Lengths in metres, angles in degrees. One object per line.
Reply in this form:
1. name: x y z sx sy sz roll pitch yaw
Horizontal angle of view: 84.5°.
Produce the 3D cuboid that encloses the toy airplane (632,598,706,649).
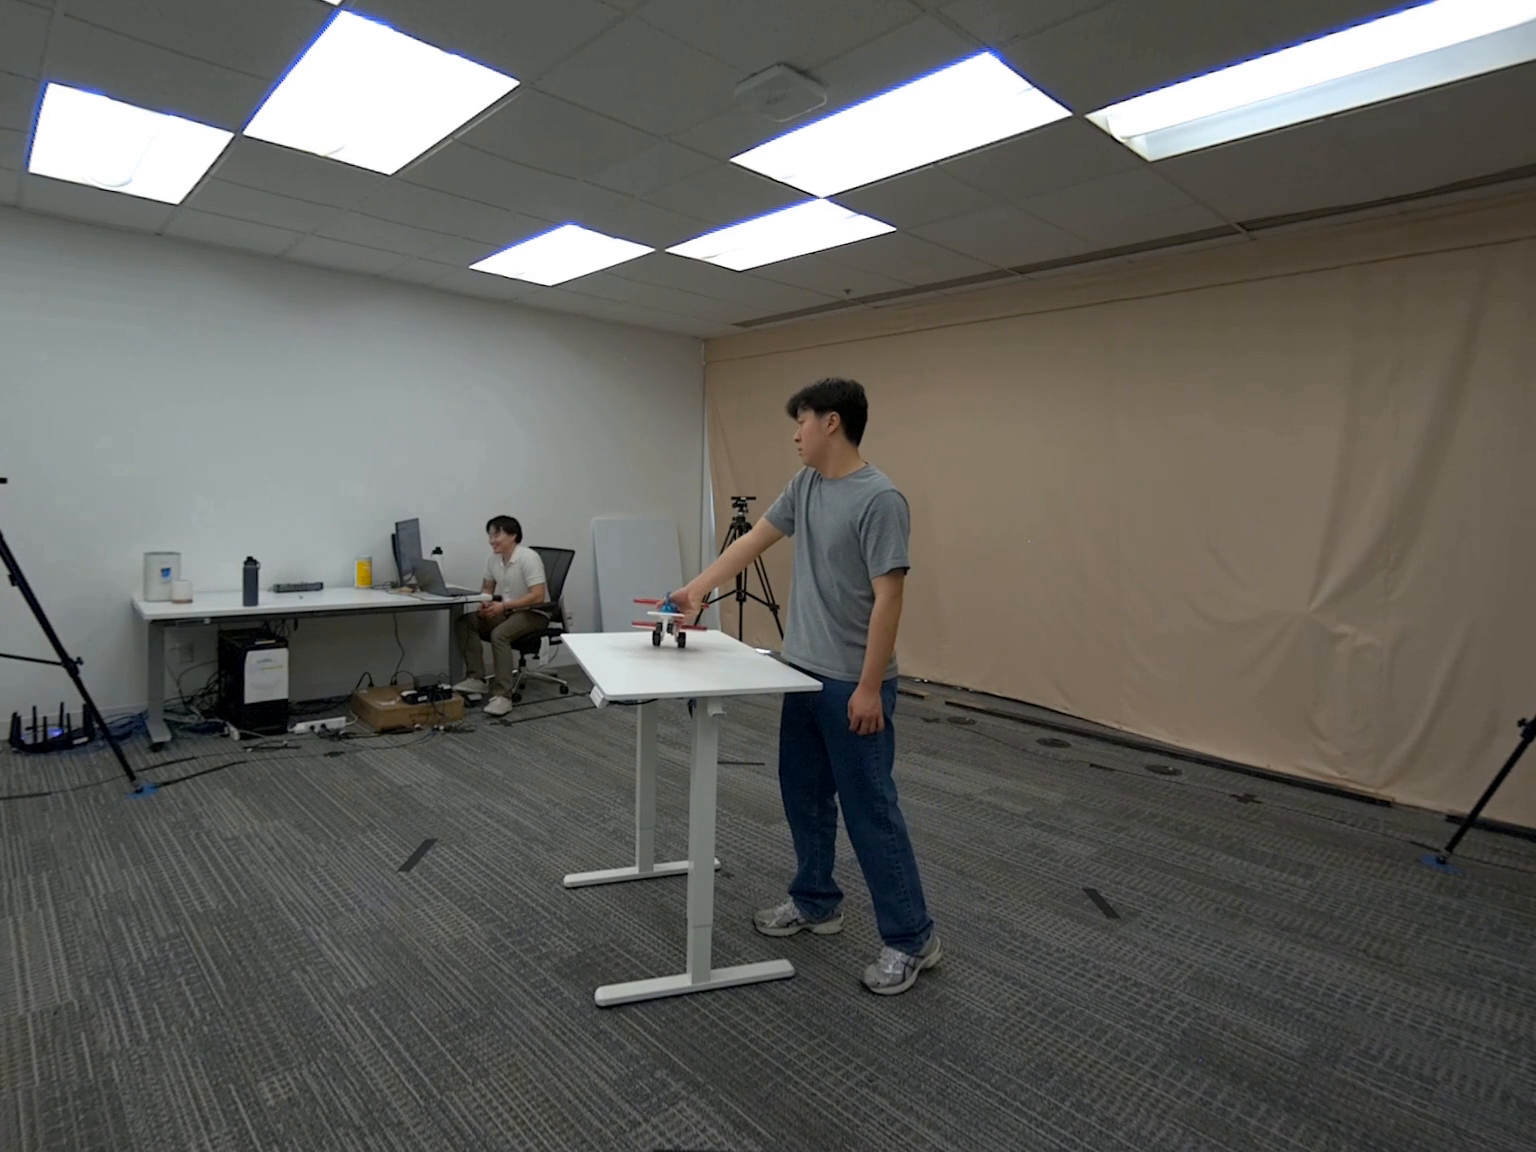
1. toy airplane: -0.317 0.143 2.789 0.245 0.158 0.261 13 -22 -26
